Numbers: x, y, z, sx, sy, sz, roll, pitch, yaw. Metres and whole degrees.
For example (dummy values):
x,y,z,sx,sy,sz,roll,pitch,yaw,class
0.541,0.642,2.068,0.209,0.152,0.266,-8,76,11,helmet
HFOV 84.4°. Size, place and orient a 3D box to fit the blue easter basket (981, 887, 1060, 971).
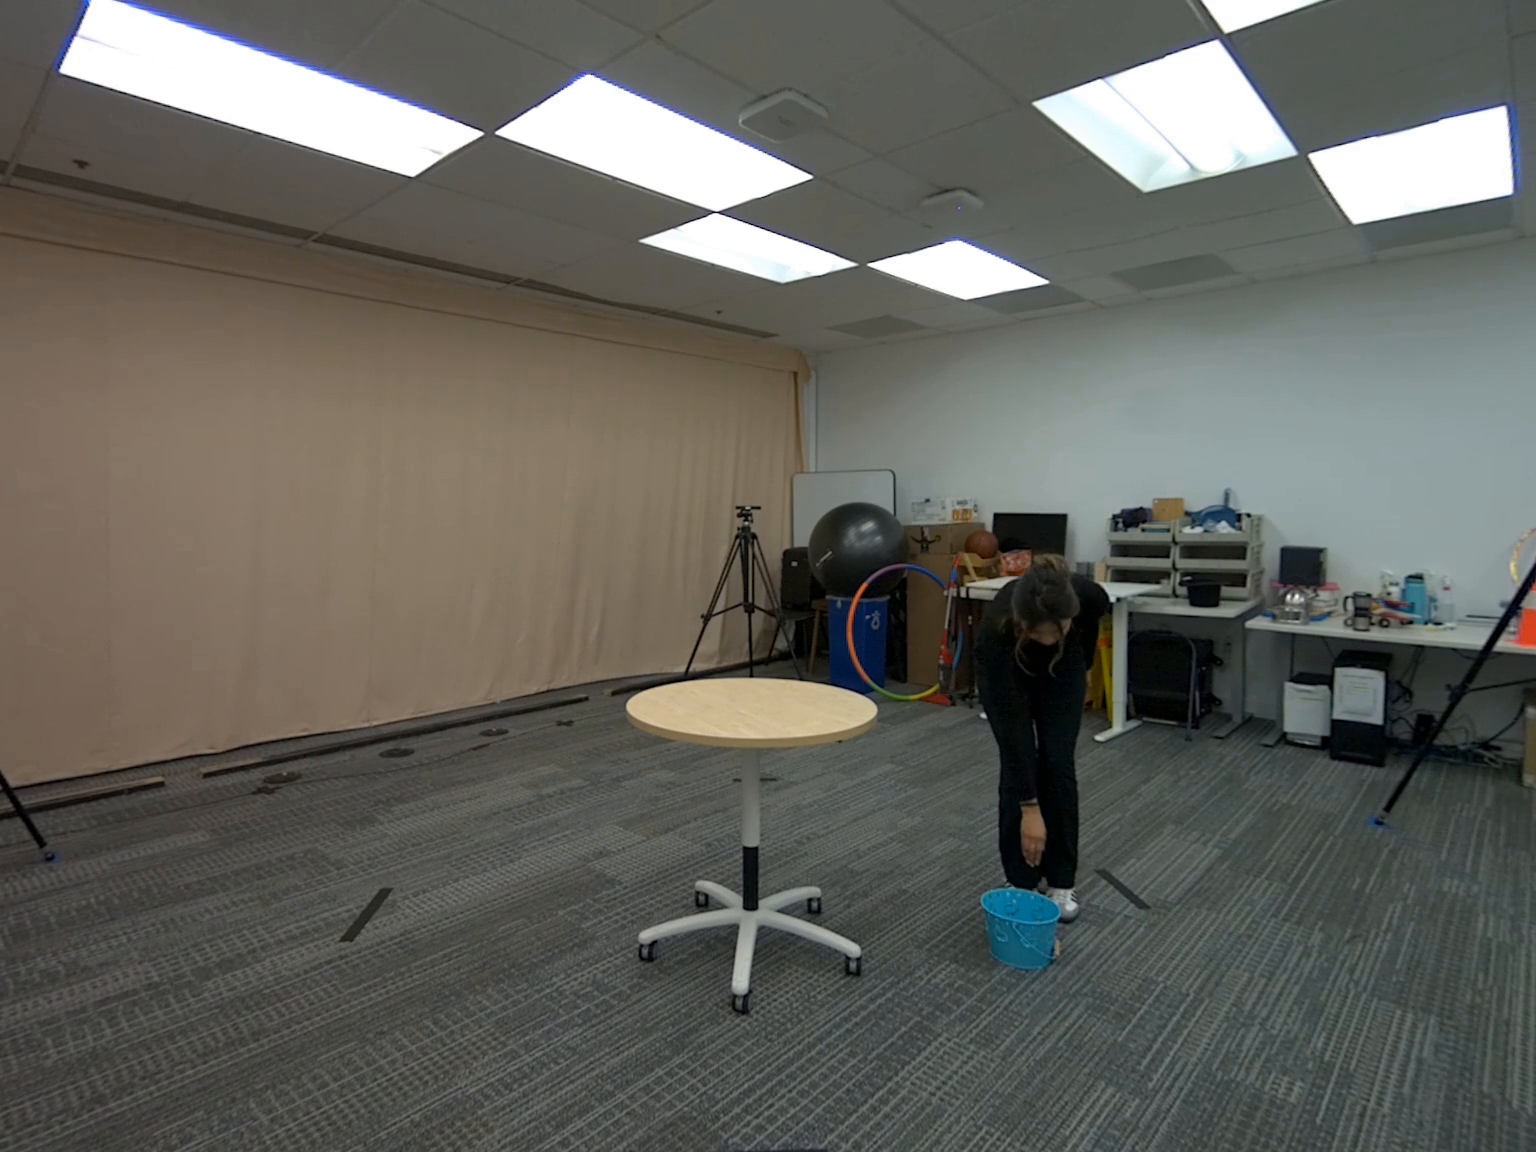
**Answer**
x,y,z,sx,sy,sz,roll,pitch,yaw,class
0.791,1.097,2.608,0.243,0.155,0.244,0,4,-2,blue easter basket
